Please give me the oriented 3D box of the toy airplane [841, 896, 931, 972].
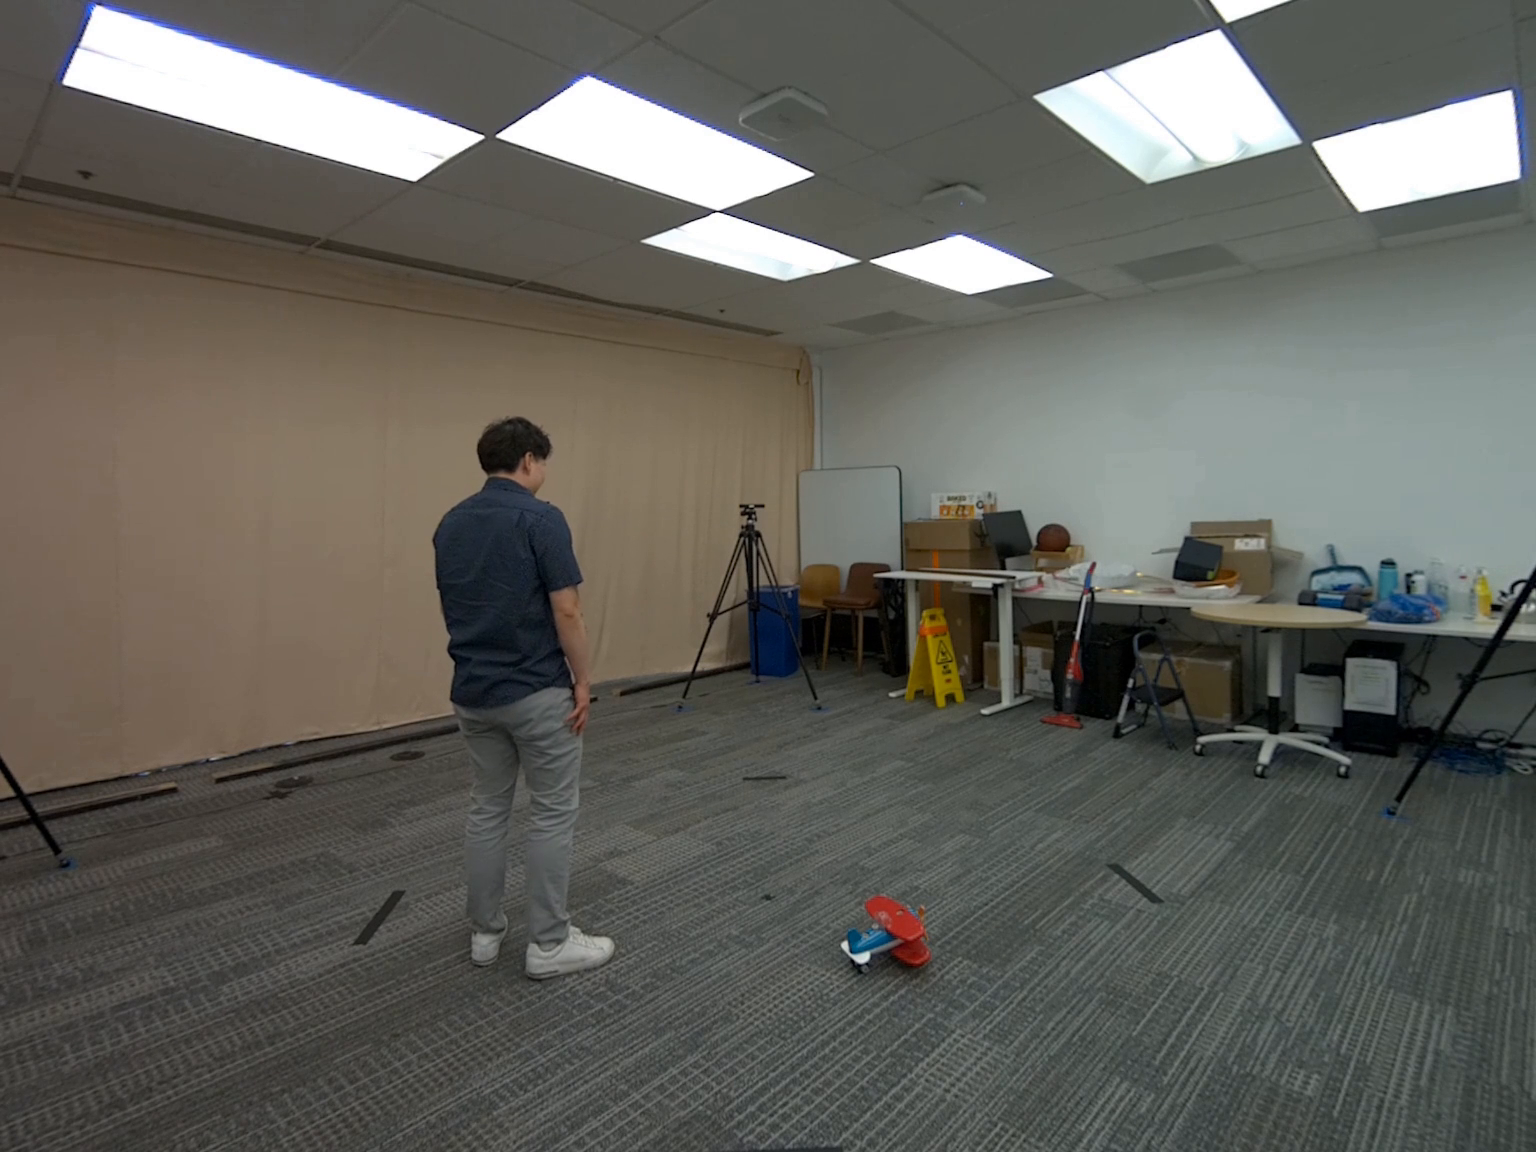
[{"bbox_3d":[0.369,1.099,2.520,0.259,0.156,0.251,3,4,40],"label":"toy airplane"}]
